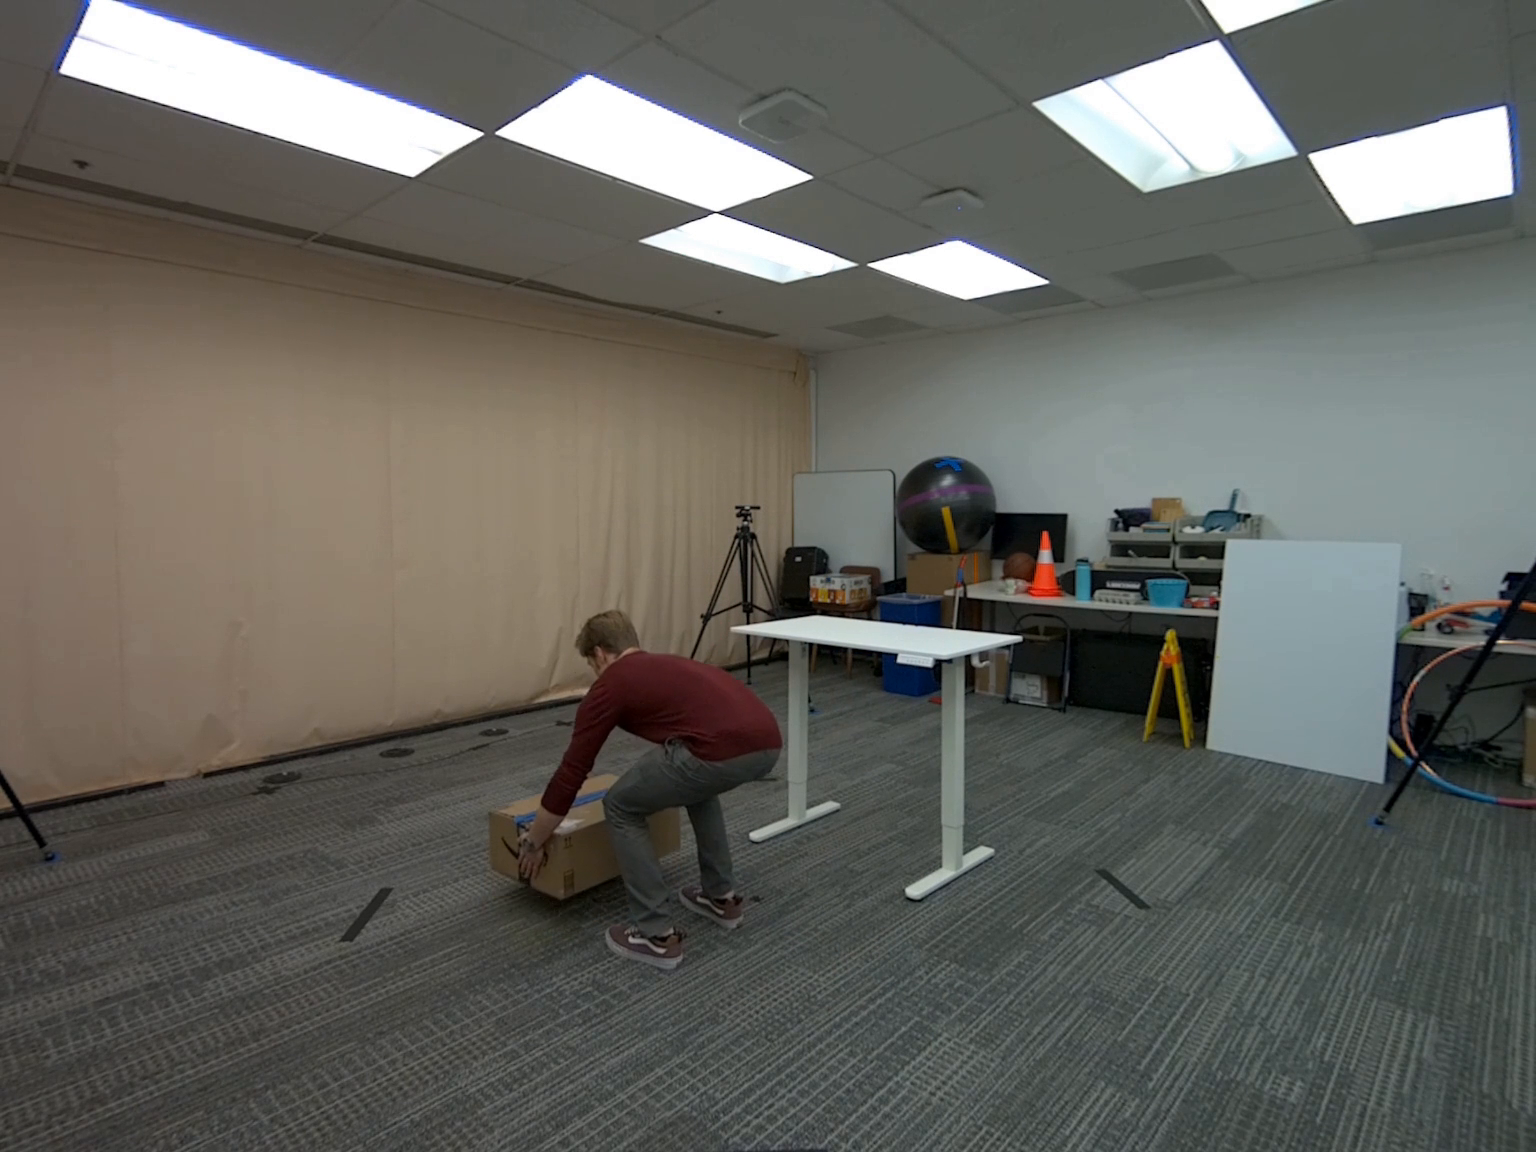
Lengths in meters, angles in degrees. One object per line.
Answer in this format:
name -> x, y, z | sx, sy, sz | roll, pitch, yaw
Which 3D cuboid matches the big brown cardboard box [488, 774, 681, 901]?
big brown cardboard box -> -0.667, 0.920, 3.079 | 0.431, 0.233, 0.571 | 1, 4, 39
